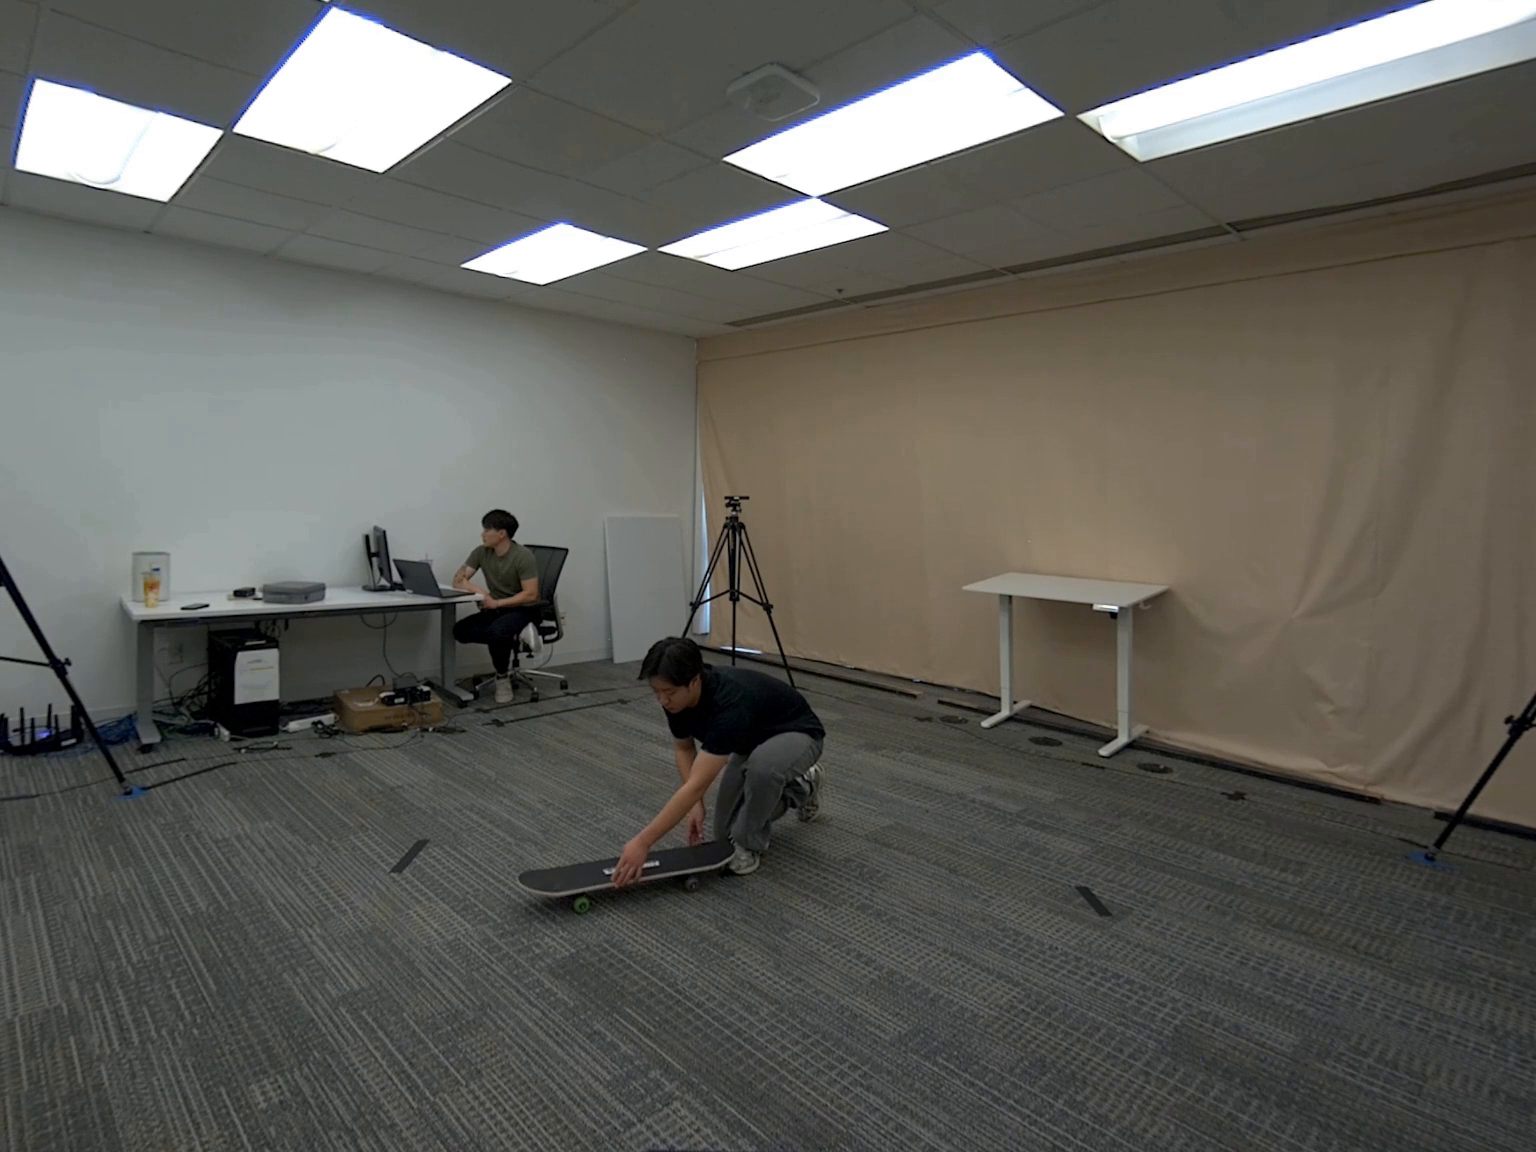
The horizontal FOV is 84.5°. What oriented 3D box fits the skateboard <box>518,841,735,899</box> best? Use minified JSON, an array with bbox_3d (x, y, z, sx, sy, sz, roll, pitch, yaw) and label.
[{"bbox_3d":[-0.481,1.054,2.948,0.771,0.110,0.197,-1,6,-25],"label":"skateboard"}]
